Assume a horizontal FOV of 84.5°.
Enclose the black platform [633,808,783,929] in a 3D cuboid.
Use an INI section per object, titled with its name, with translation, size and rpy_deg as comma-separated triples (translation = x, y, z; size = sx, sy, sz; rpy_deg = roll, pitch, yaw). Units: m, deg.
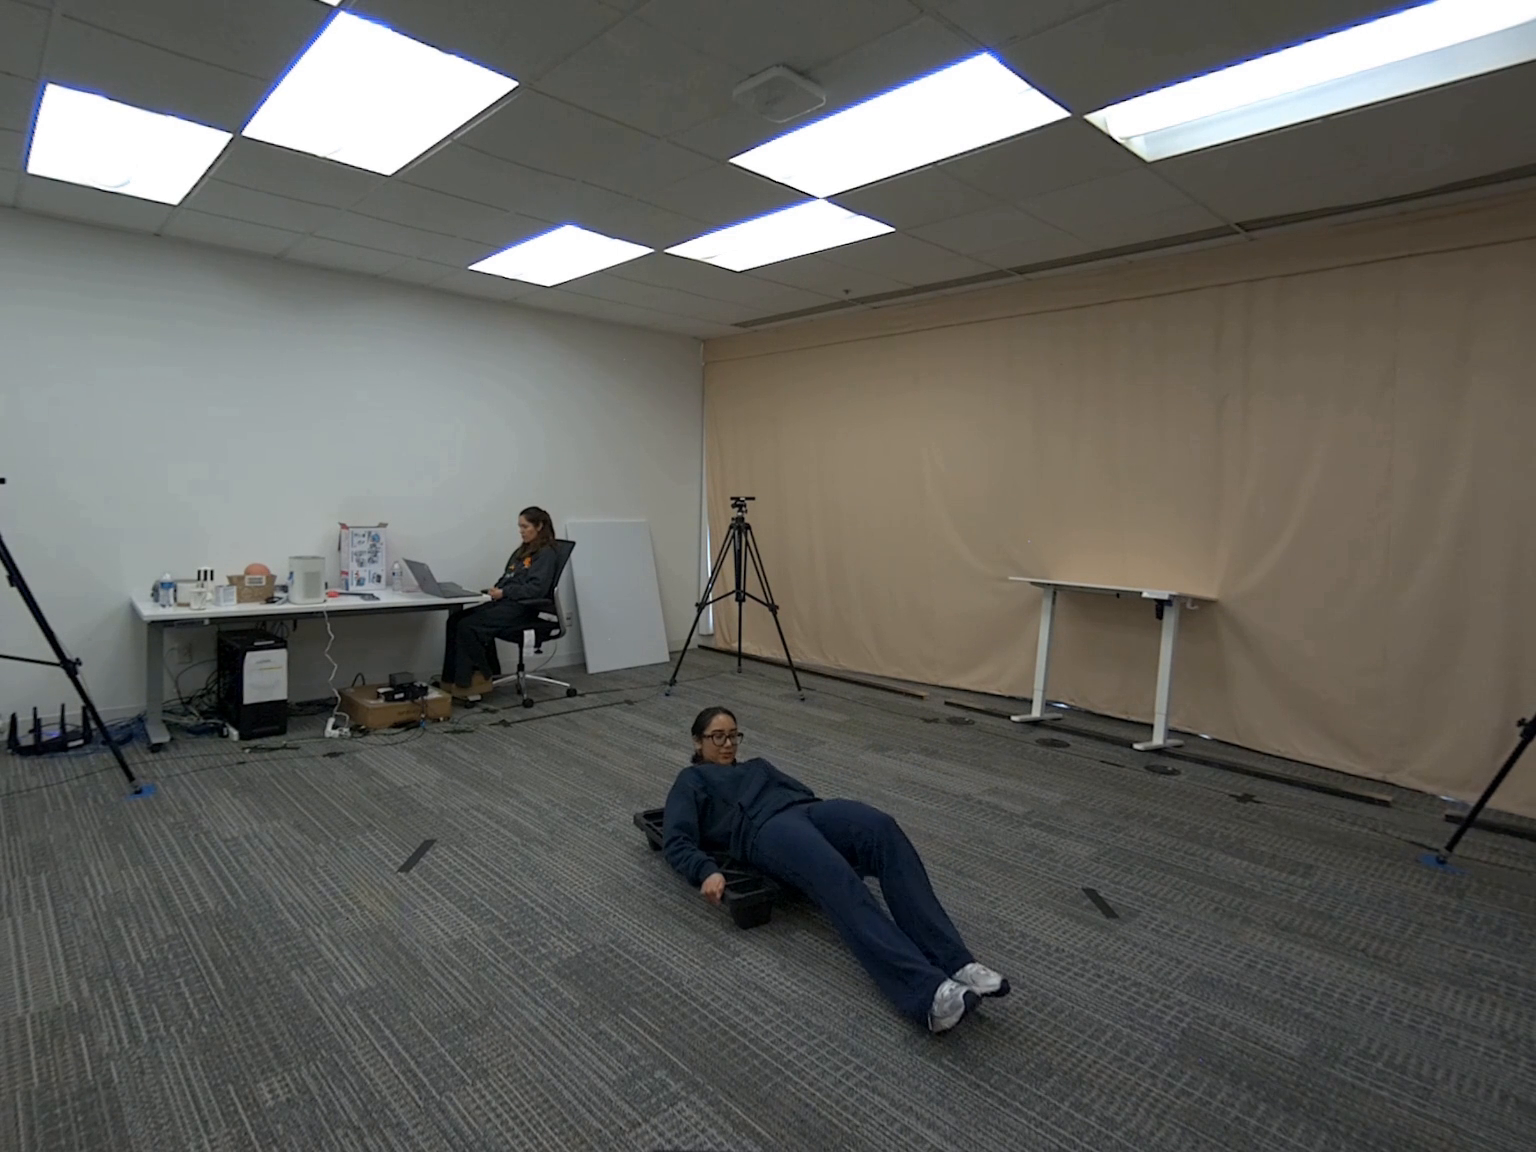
[black platform]
translation = -0.079, 1.040, 3.150
size = 0.593, 0.143, 0.824
rpy_deg = -2, 7, -30
